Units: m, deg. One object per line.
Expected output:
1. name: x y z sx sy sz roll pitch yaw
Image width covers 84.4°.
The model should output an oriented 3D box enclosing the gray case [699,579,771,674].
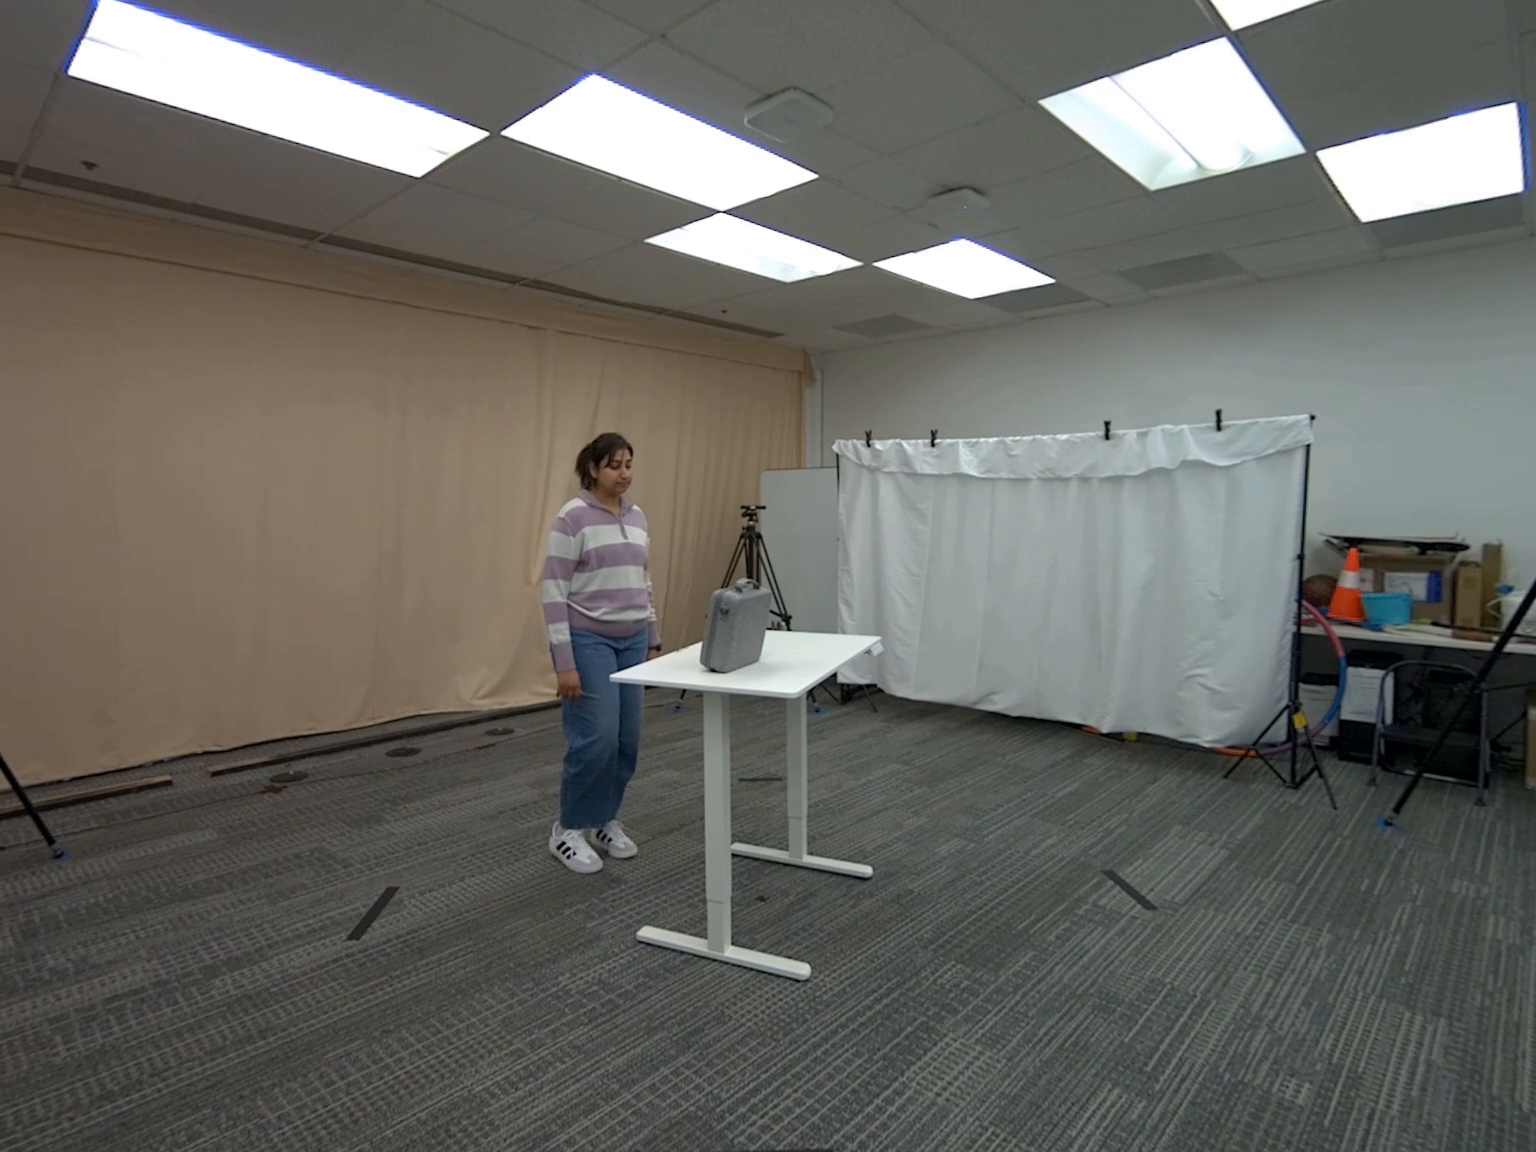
1. gray case: -0.093 0.159 2.670 0.107 0.259 0.251 15 12 25
